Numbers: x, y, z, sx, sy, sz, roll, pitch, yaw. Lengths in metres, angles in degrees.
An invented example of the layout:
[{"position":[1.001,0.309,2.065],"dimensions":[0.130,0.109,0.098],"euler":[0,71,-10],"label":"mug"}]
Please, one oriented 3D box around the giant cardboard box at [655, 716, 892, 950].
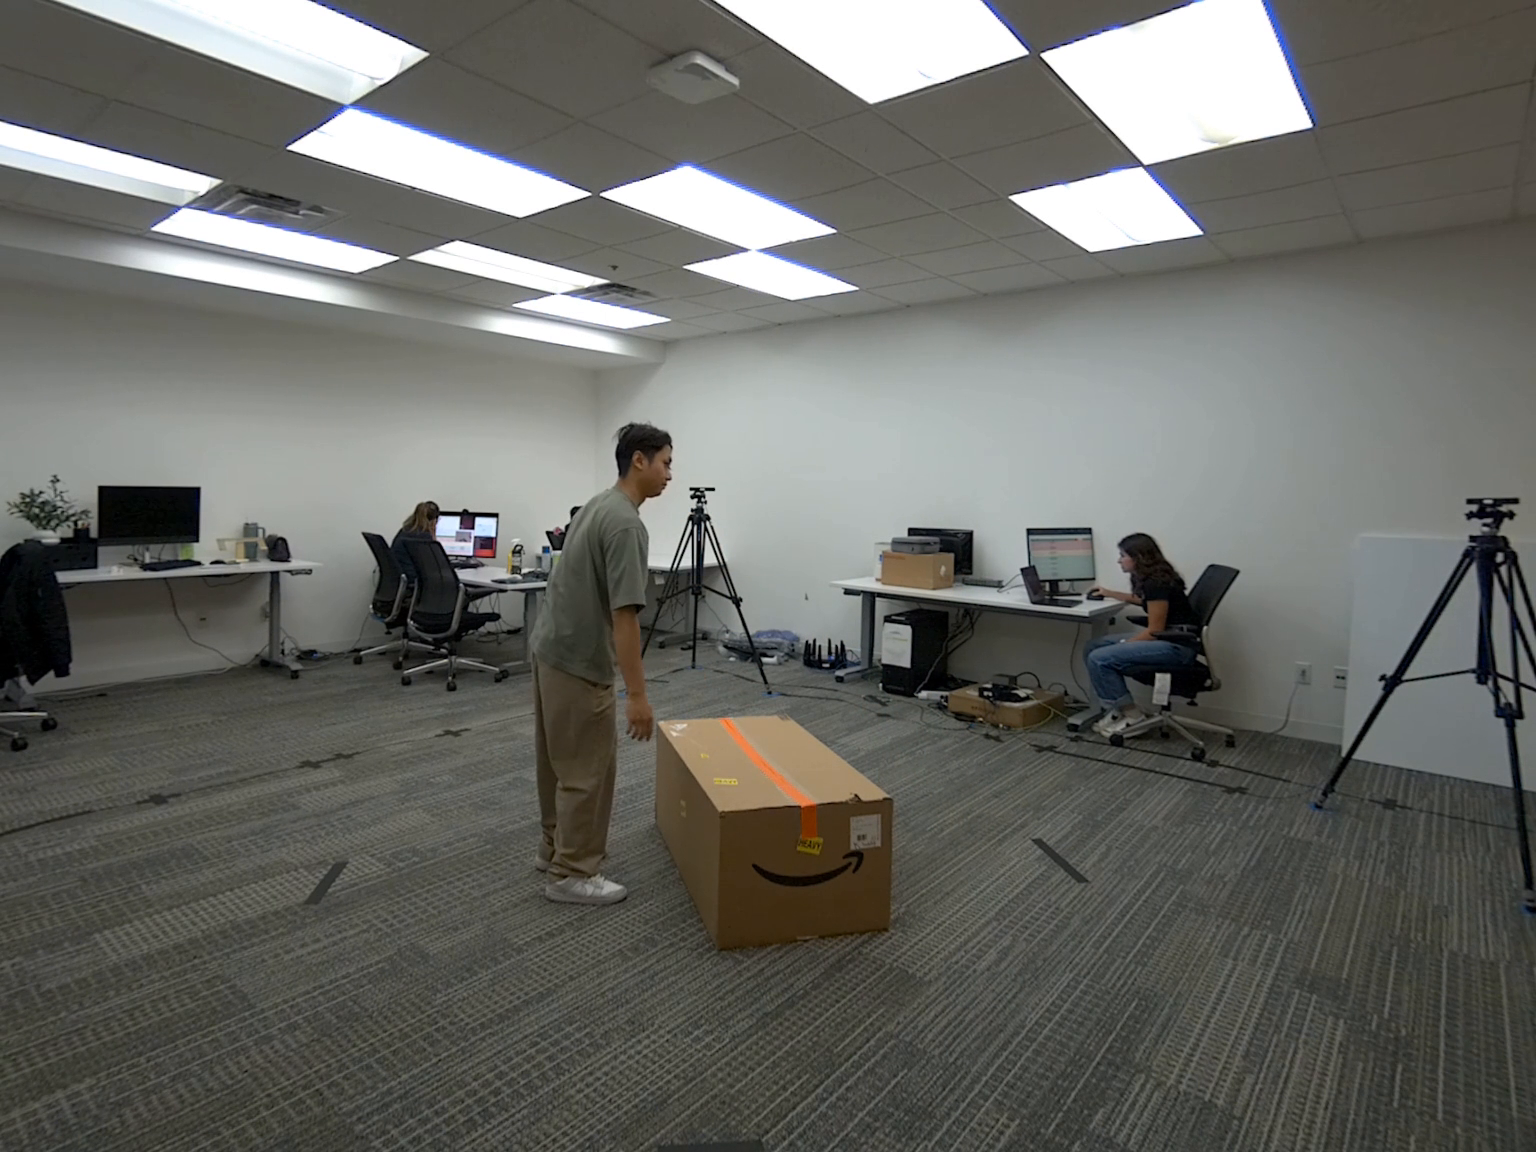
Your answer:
[{"position":[-0.042,0.855,3.102],"dimensions":[0.568,0.424,1.047],"euler":[-1,6,-17],"label":"giant cardboard box"}]
